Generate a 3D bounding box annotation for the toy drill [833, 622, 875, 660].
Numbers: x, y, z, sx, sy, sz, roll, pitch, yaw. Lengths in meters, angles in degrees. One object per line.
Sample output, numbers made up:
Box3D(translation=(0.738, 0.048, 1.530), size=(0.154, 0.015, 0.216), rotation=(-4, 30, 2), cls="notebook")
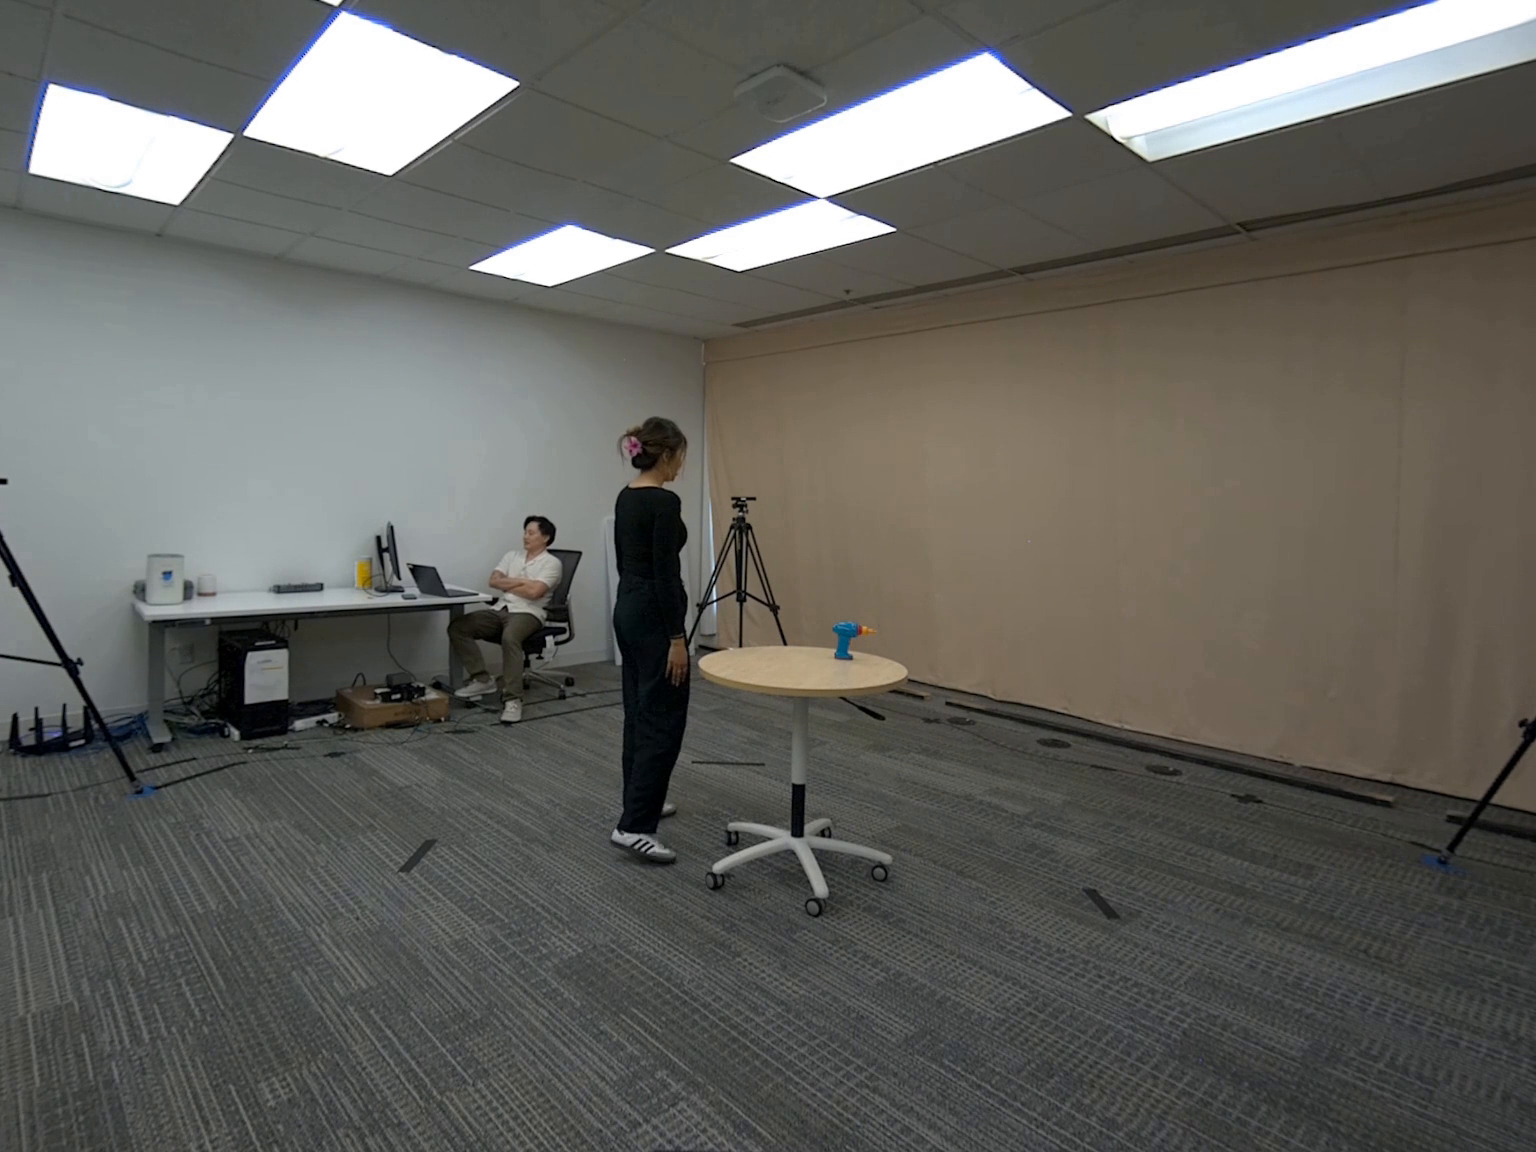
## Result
Box3D(translation=(0.328, 0.249, 3.238), size=(0.171, 0.145, 0.061), rotation=(2, 6, 7), cls="toy drill")
